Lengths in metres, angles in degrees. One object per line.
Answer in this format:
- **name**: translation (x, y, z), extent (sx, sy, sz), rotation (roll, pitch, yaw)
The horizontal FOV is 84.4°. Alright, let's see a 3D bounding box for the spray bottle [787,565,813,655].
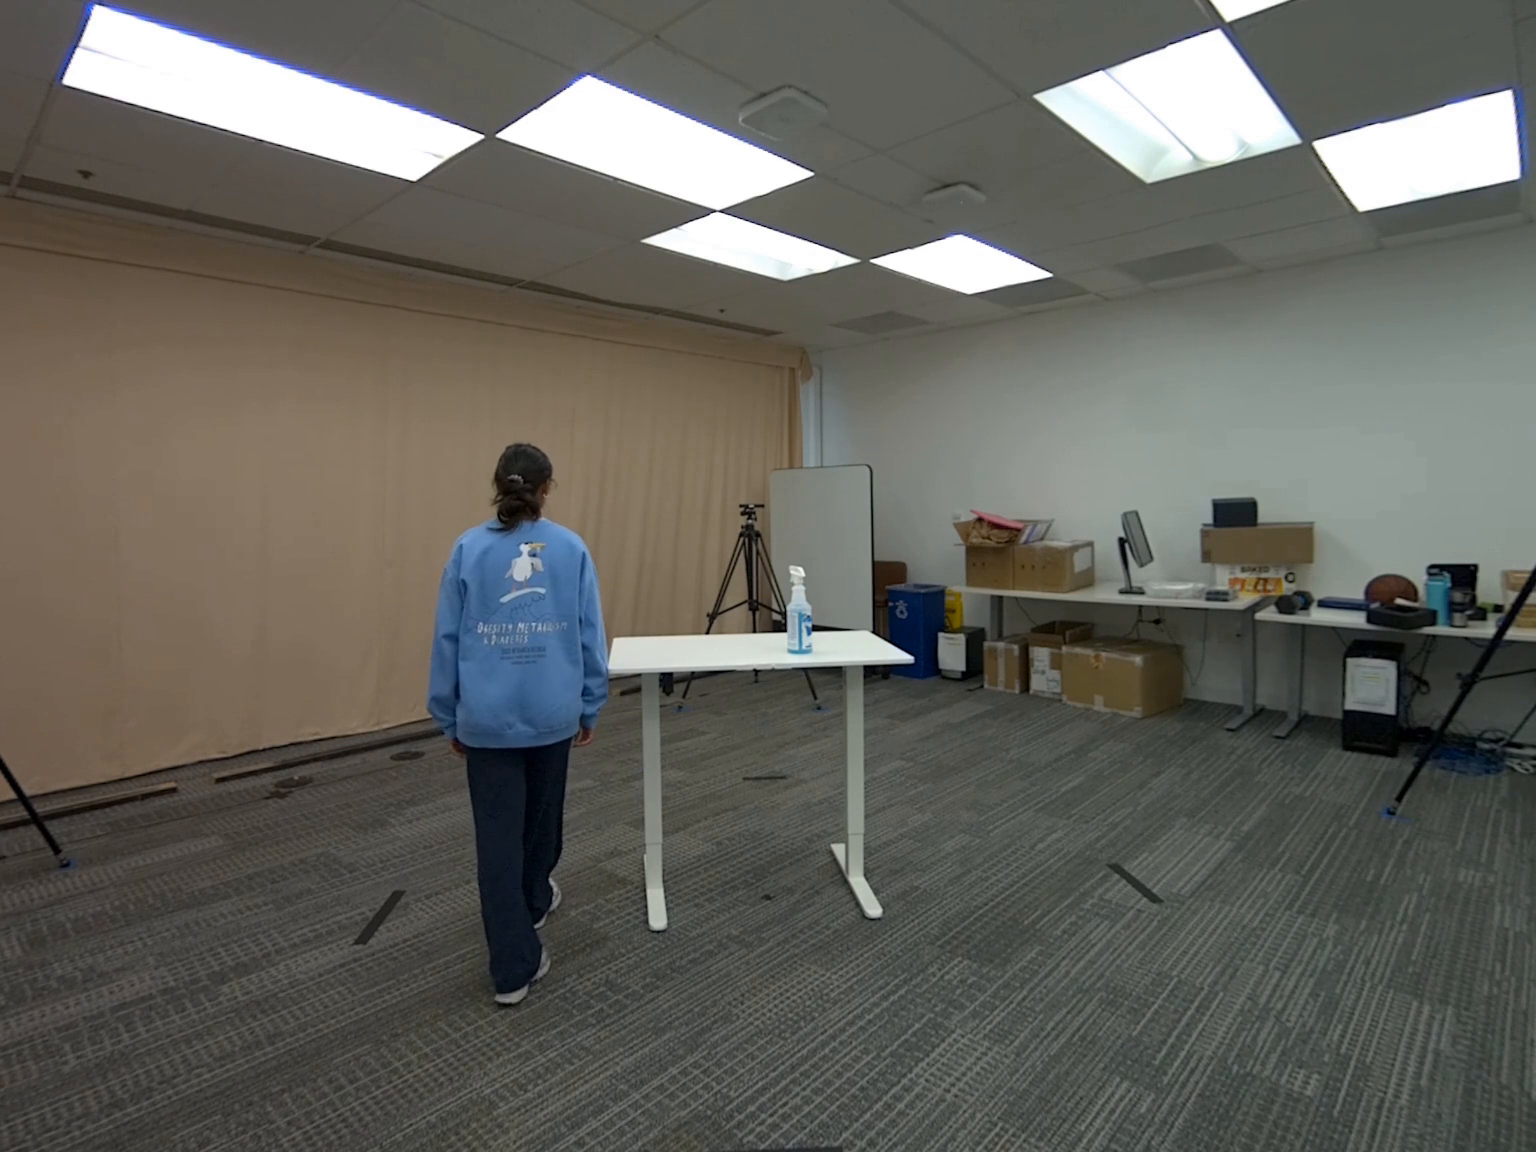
- **spray bottle**: translation (0.112, 0.119, 2.905), extent (0.087, 0.297, 0.090), rotation (-1, 3, 1)
